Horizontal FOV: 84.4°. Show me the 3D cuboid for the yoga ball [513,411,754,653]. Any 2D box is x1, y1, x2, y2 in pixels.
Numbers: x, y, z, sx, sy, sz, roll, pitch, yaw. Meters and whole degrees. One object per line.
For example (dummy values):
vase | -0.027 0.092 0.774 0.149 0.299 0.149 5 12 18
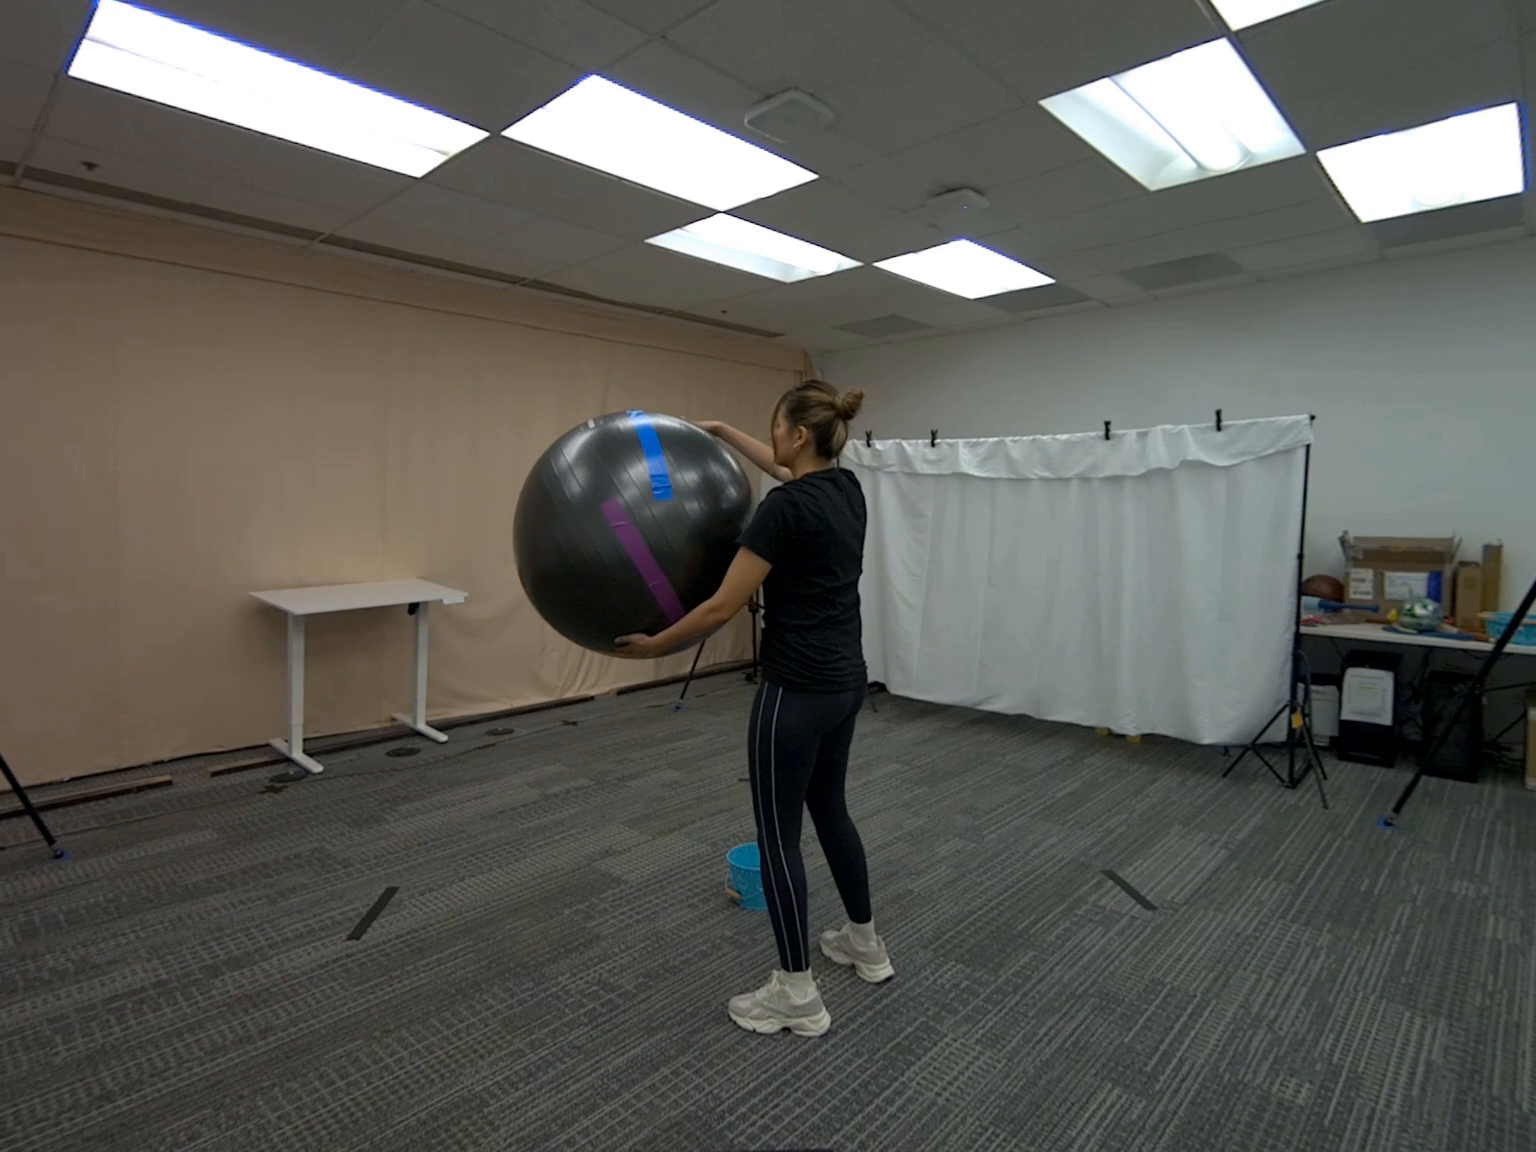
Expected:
yoga ball | -0.403 -0.117 2.581 0.757 0.756 0.761 0 4 -2
